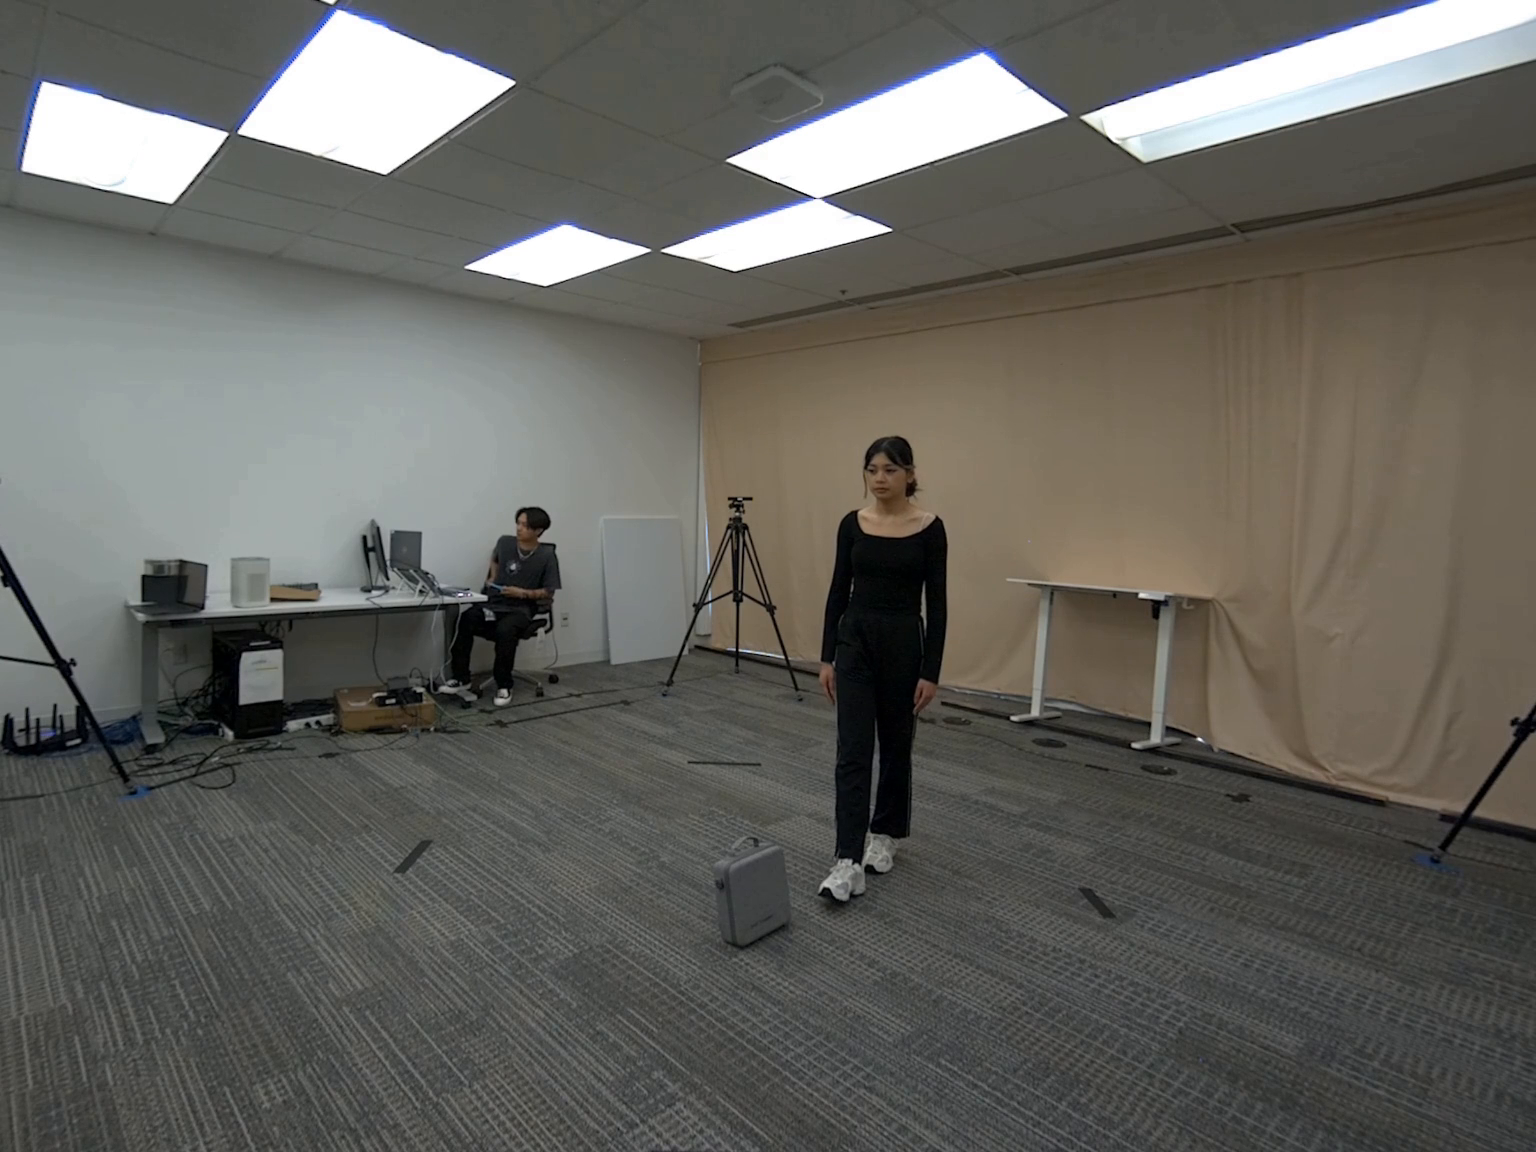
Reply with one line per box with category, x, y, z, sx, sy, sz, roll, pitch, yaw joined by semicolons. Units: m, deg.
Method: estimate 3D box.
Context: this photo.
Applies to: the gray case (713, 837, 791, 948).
gray case;-0.058;1.012;2.702;0.106;0.261;0.251;-11;-6;44
